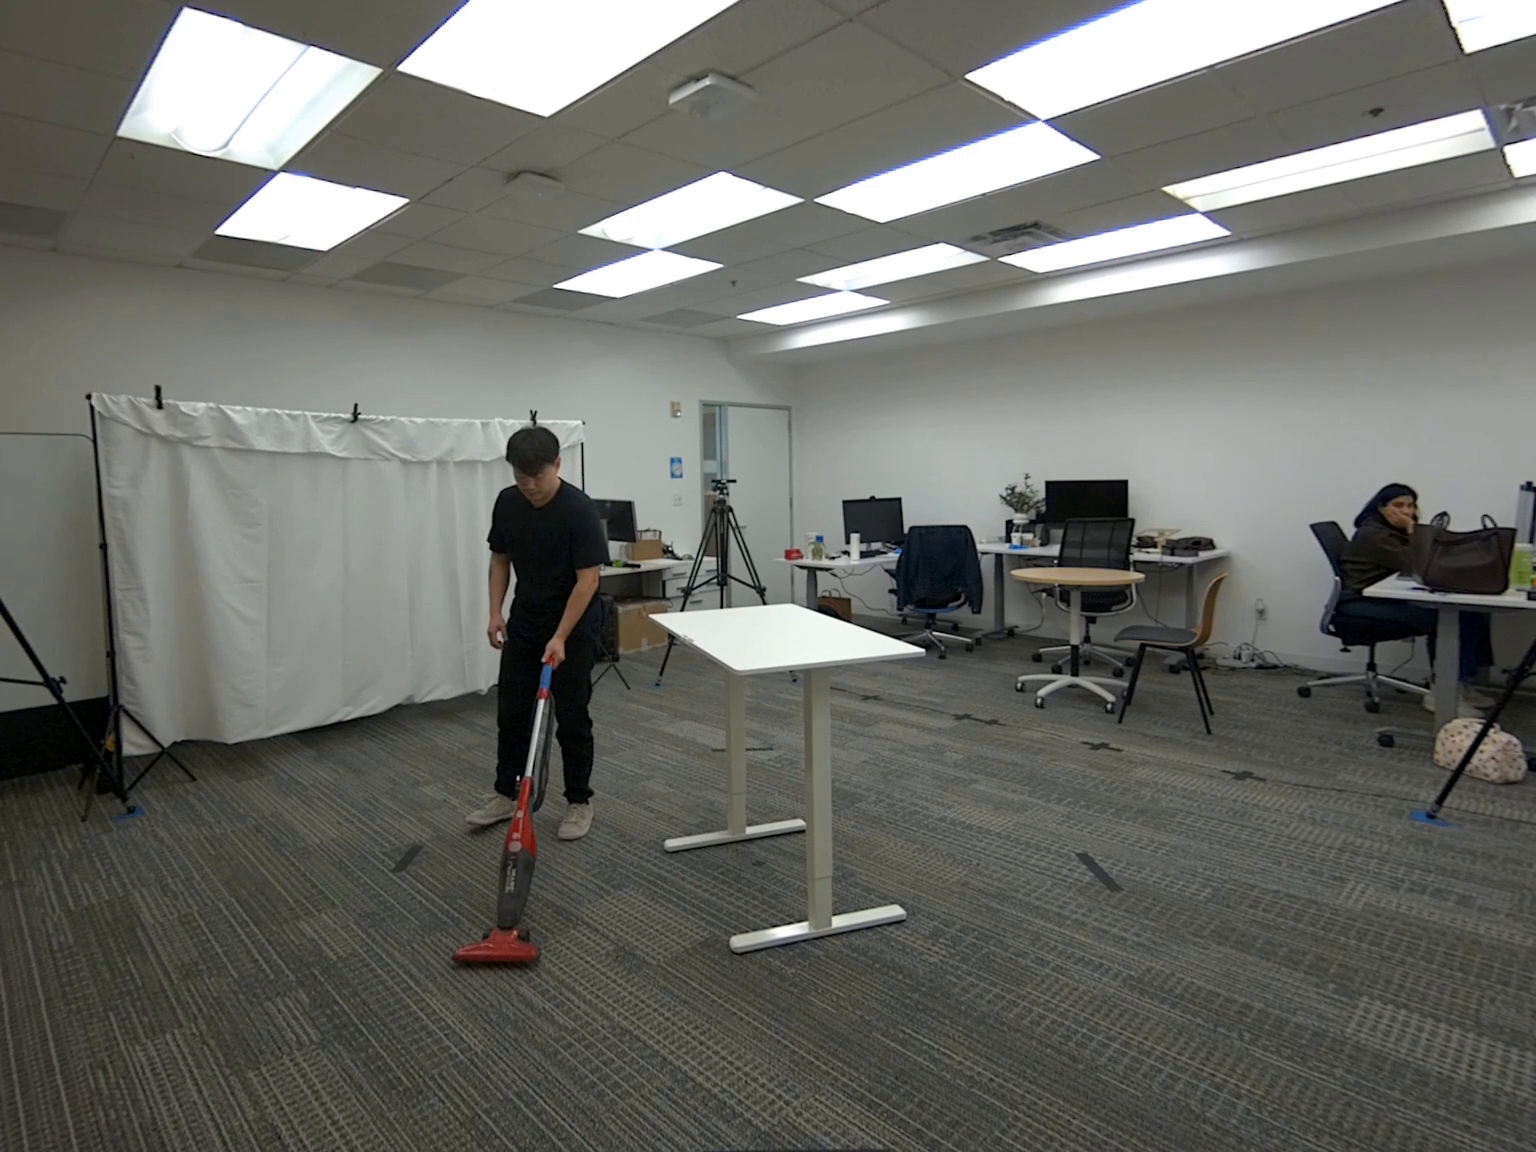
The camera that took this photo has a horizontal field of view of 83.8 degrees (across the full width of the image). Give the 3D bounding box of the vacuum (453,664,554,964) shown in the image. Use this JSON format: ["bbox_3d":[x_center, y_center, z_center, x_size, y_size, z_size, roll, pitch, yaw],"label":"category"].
[{"bbox_3d":[-0.804,0.703,2.886,0.253,1.077,0.140,-1,-40,1],"label":"vacuum"}]
